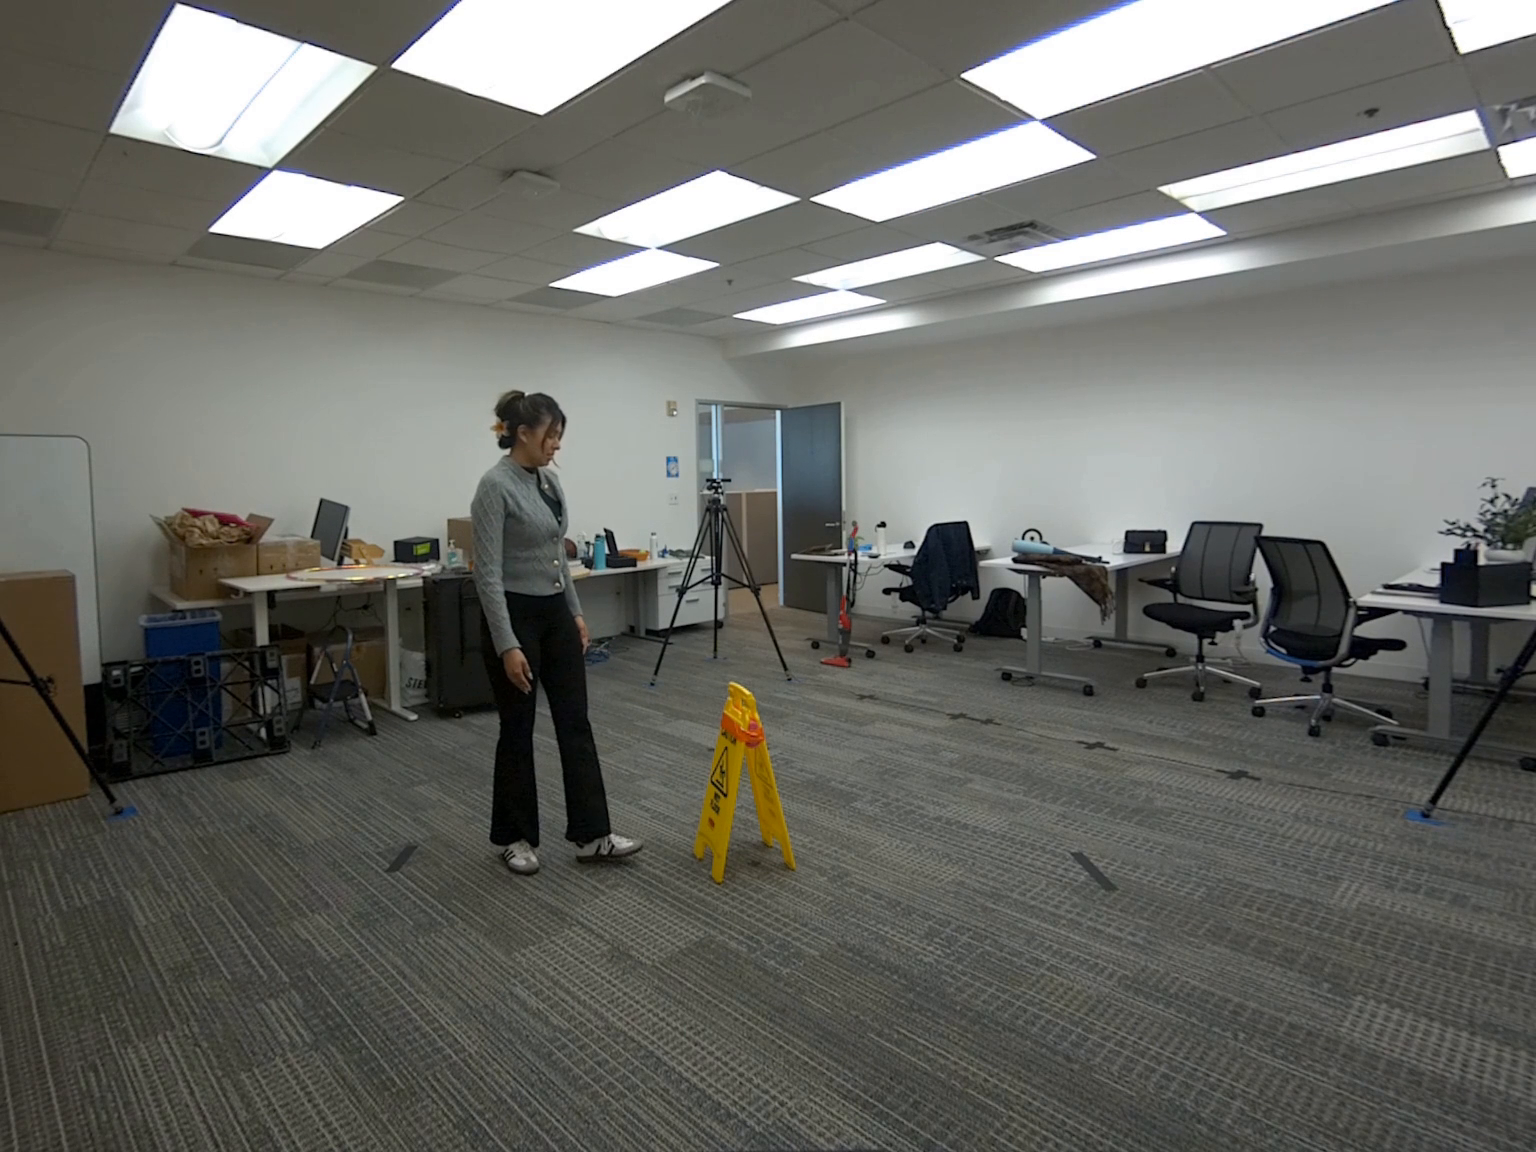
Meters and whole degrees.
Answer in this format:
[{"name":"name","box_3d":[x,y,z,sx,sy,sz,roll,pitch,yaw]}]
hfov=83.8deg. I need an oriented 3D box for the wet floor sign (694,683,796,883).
[{"name":"wet floor sign","box_3d":[-0.091,0.716,3.106,0.284,0.643,0.289,-2,5,-22]}]
